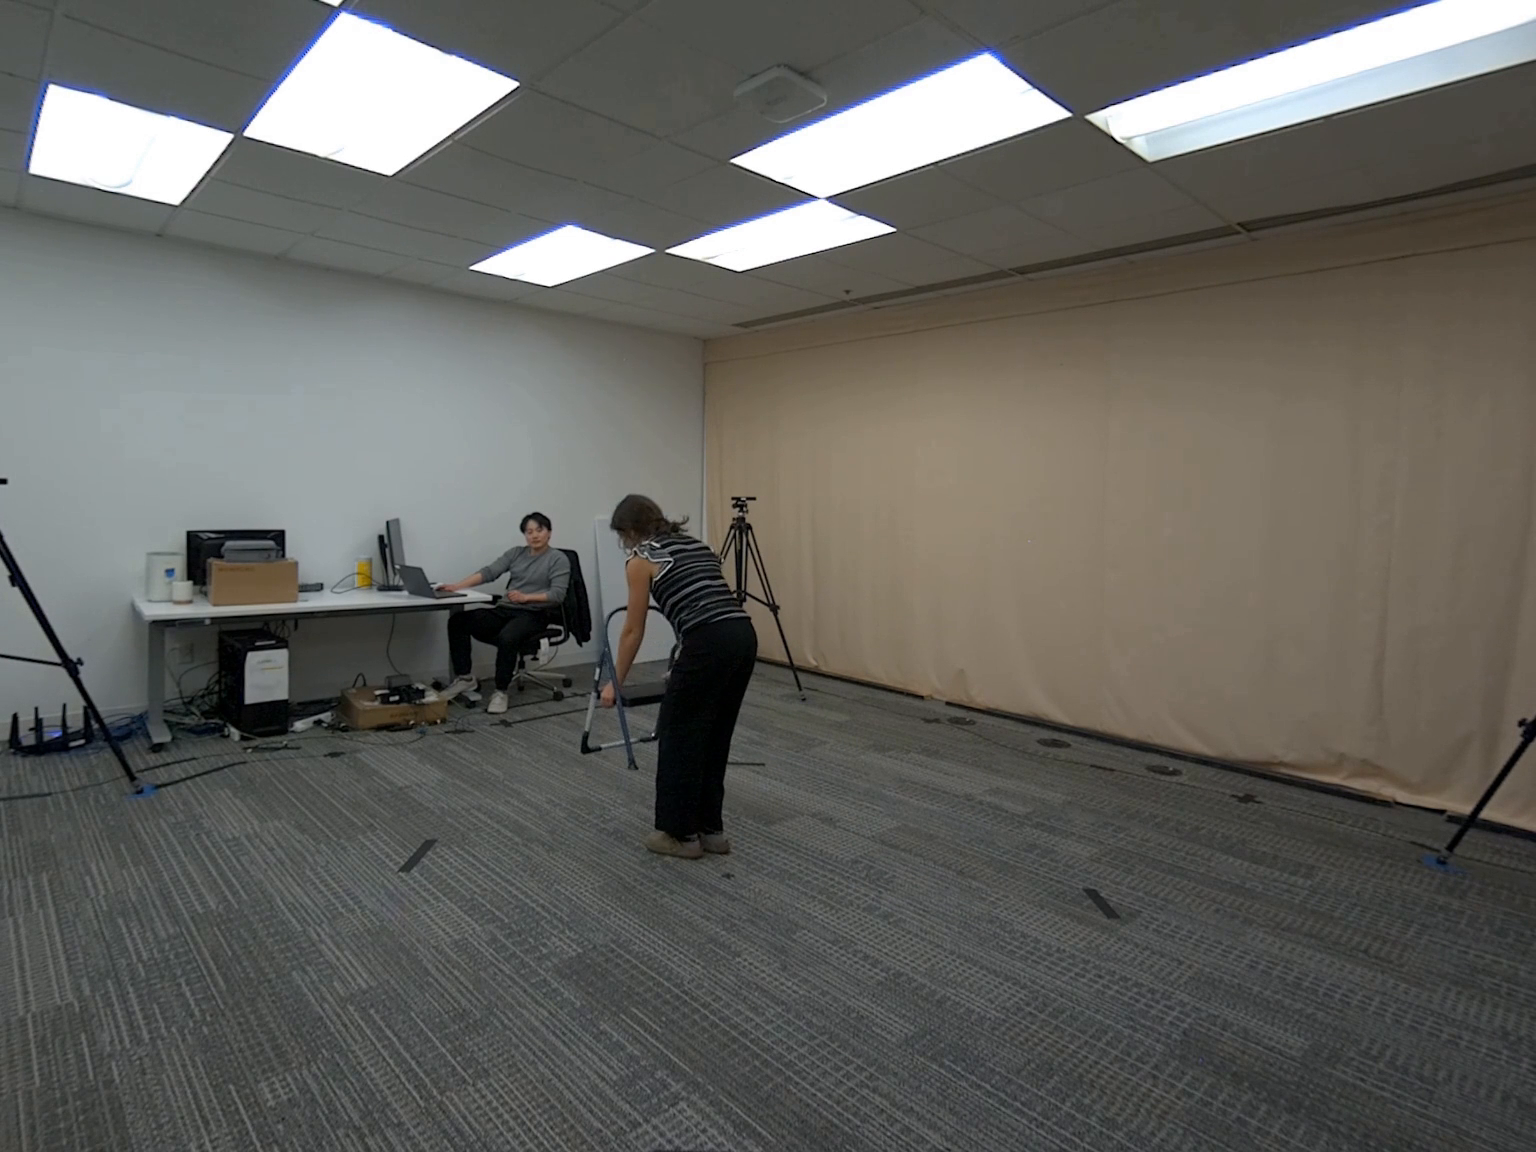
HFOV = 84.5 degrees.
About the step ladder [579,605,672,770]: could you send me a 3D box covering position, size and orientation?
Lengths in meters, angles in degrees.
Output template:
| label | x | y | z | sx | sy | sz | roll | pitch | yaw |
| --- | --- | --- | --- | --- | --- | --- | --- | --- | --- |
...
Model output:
| label | x | y | z | sx | sy | sz | roll | pitch | yaw |
| --- | --- | --- | --- | --- | --- | --- | --- | --- | --- |
| step ladder | -0.507 | 0.437 | 3.470 | 0.358 | 0.606 | 0.420 | 2 | 1 | 42 |
